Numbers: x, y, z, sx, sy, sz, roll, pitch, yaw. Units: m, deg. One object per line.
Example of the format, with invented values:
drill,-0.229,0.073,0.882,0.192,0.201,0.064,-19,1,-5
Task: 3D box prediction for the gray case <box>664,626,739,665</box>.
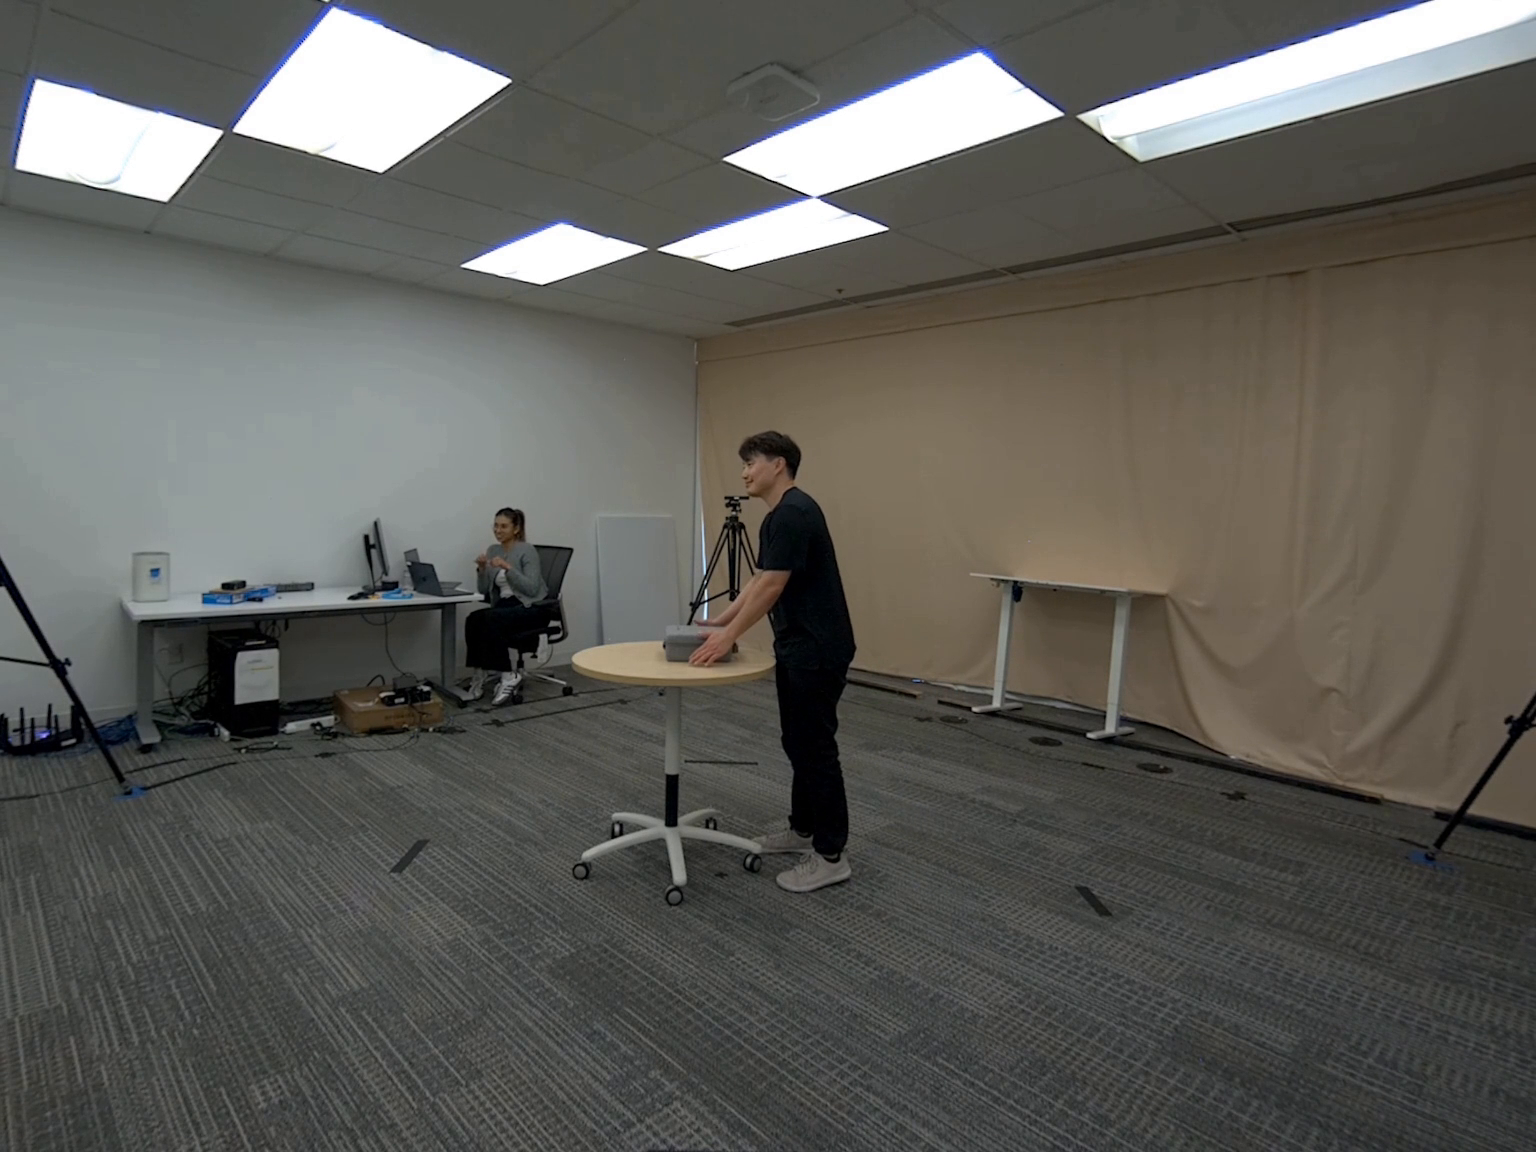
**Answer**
gray case,-0.261,0.258,3.214,0.259,0.104,0.259,1,3,-7
